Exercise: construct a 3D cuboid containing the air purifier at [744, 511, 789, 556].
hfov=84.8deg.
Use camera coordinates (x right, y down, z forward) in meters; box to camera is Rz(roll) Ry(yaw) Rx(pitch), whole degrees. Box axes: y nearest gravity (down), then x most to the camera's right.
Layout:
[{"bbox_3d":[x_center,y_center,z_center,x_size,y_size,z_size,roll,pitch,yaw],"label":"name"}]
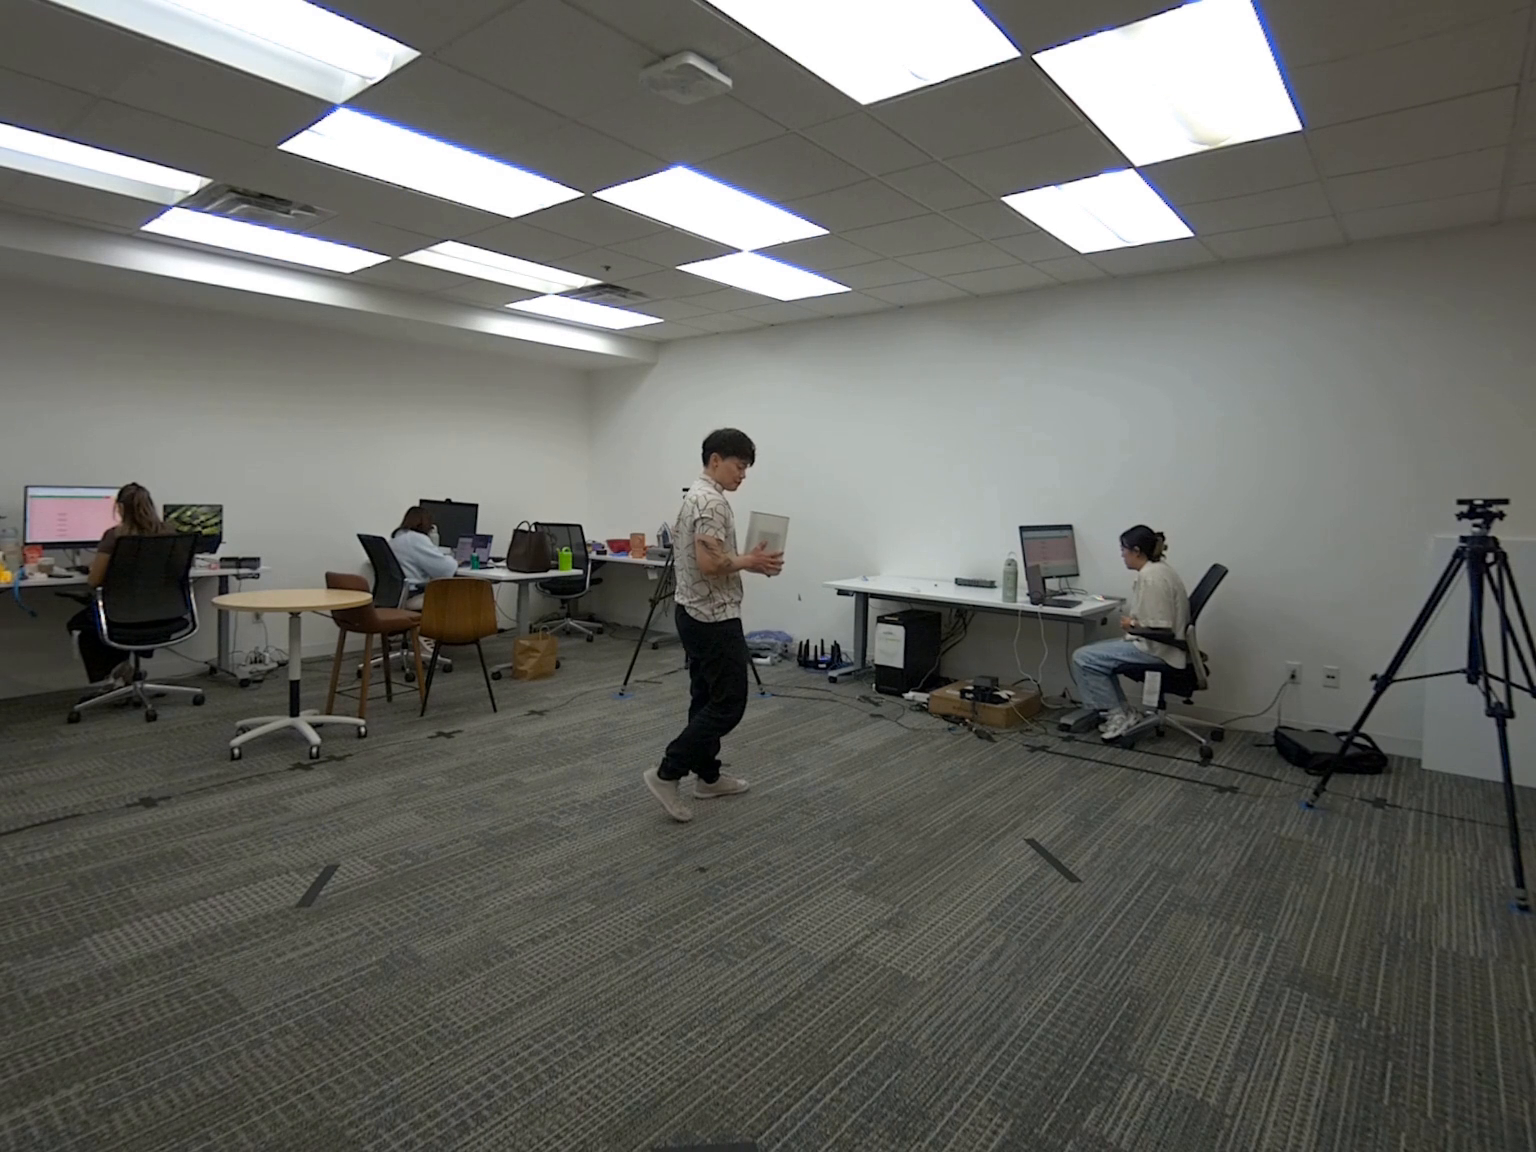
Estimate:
[{"bbox_3d":[-0.026,-0.152,3.789,0.169,0.265,0.174,9,2,-12],"label":"air purifier"}]
